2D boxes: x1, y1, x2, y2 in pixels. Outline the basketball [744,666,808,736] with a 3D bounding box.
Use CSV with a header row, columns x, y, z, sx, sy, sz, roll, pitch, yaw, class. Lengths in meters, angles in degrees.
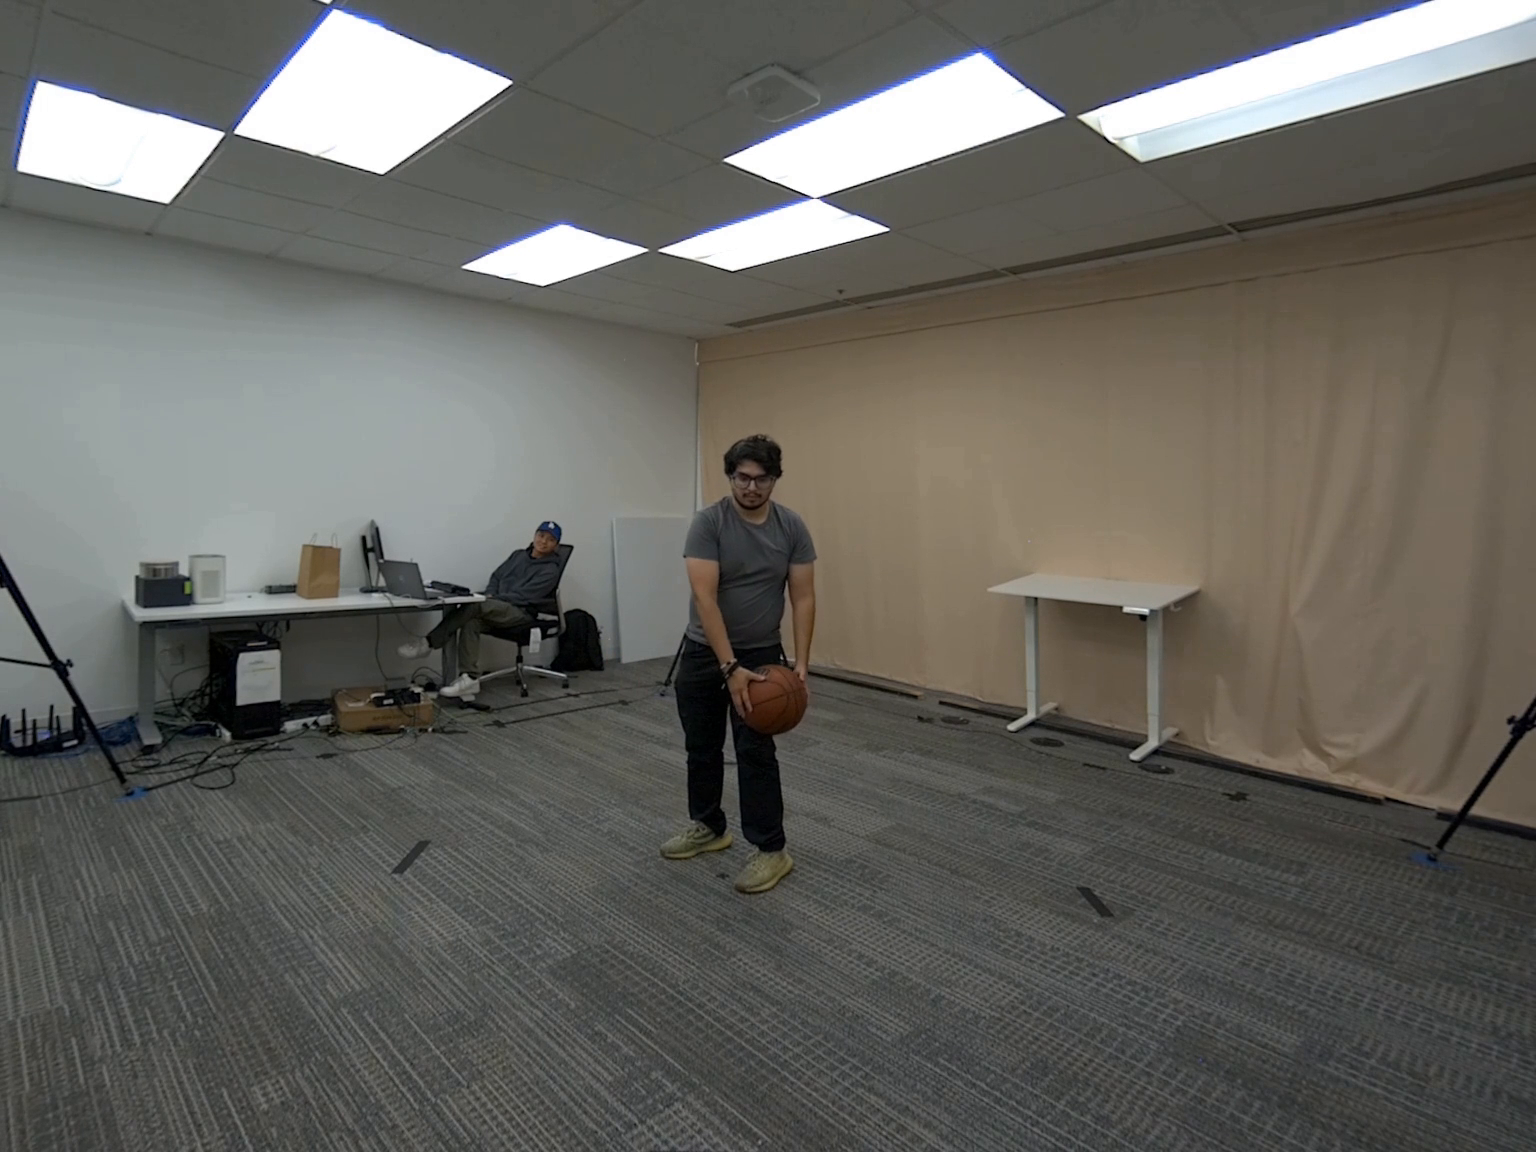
x,y,z,sx,sy,sz,roll,pitch,yaw,class
0.007,0.422,2.888,0.236,0.235,0.237,1,4,-1,basketball
